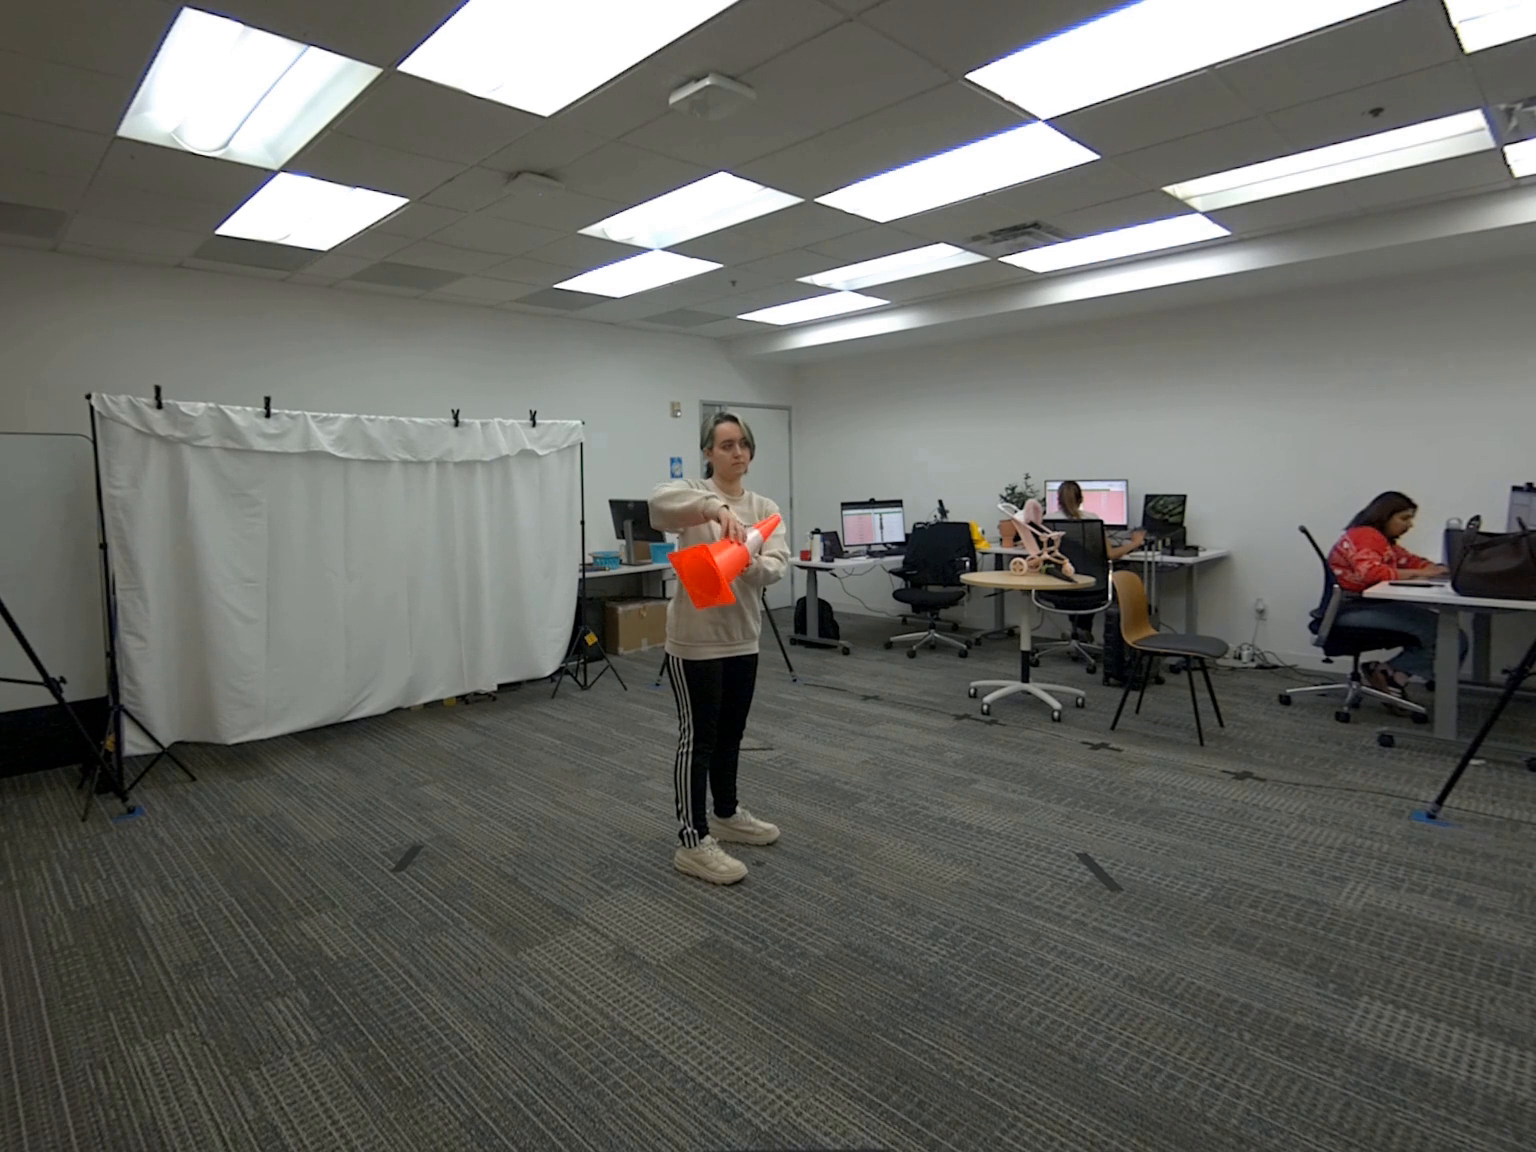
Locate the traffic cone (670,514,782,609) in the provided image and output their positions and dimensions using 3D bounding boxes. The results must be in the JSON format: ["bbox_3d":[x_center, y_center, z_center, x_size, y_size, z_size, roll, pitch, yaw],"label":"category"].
[{"bbox_3d":[-0.089,-0.080,2.661,0.207,0.202,0.381,-14,19,49],"label":"traffic cone"}]
